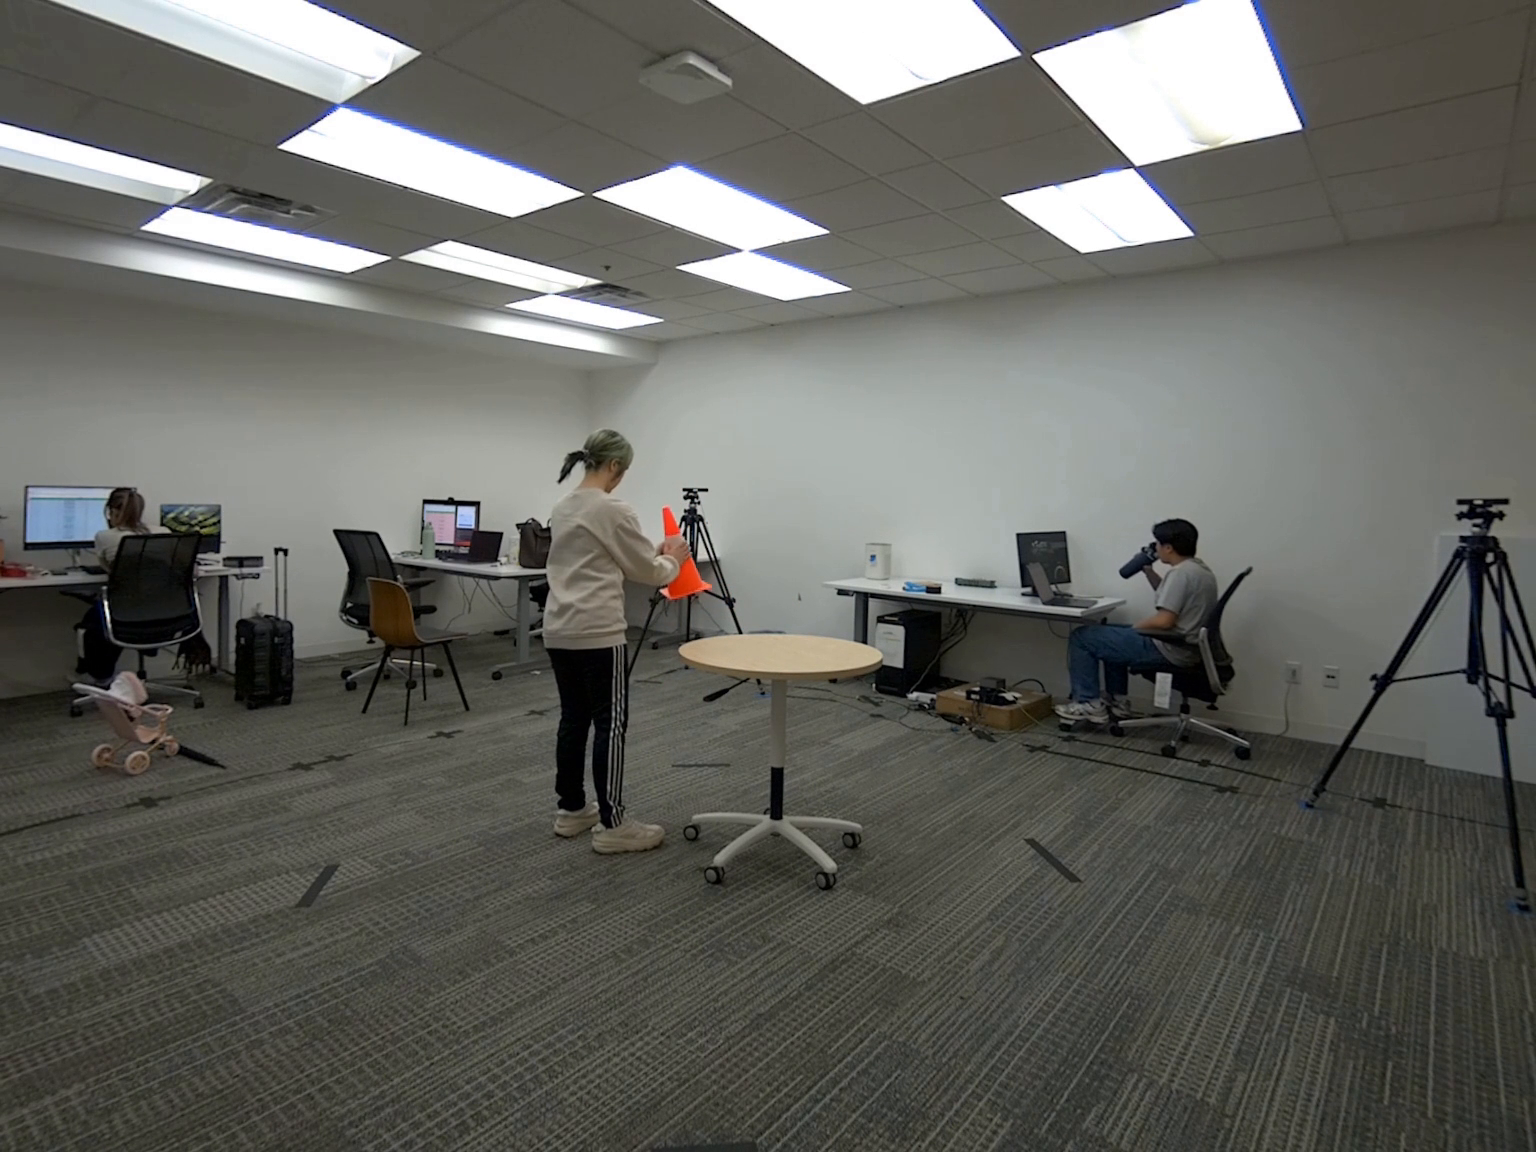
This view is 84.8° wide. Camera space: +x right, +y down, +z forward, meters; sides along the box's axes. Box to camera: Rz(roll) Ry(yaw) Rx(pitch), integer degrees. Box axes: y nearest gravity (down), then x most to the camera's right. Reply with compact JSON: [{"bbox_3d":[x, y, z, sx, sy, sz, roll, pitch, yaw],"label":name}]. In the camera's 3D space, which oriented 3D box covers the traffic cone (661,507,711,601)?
[{"bbox_3d":[-0.414,-0.123,3.739,0.205,0.377,0.206,-13,14,0],"label":"traffic cone"}]
